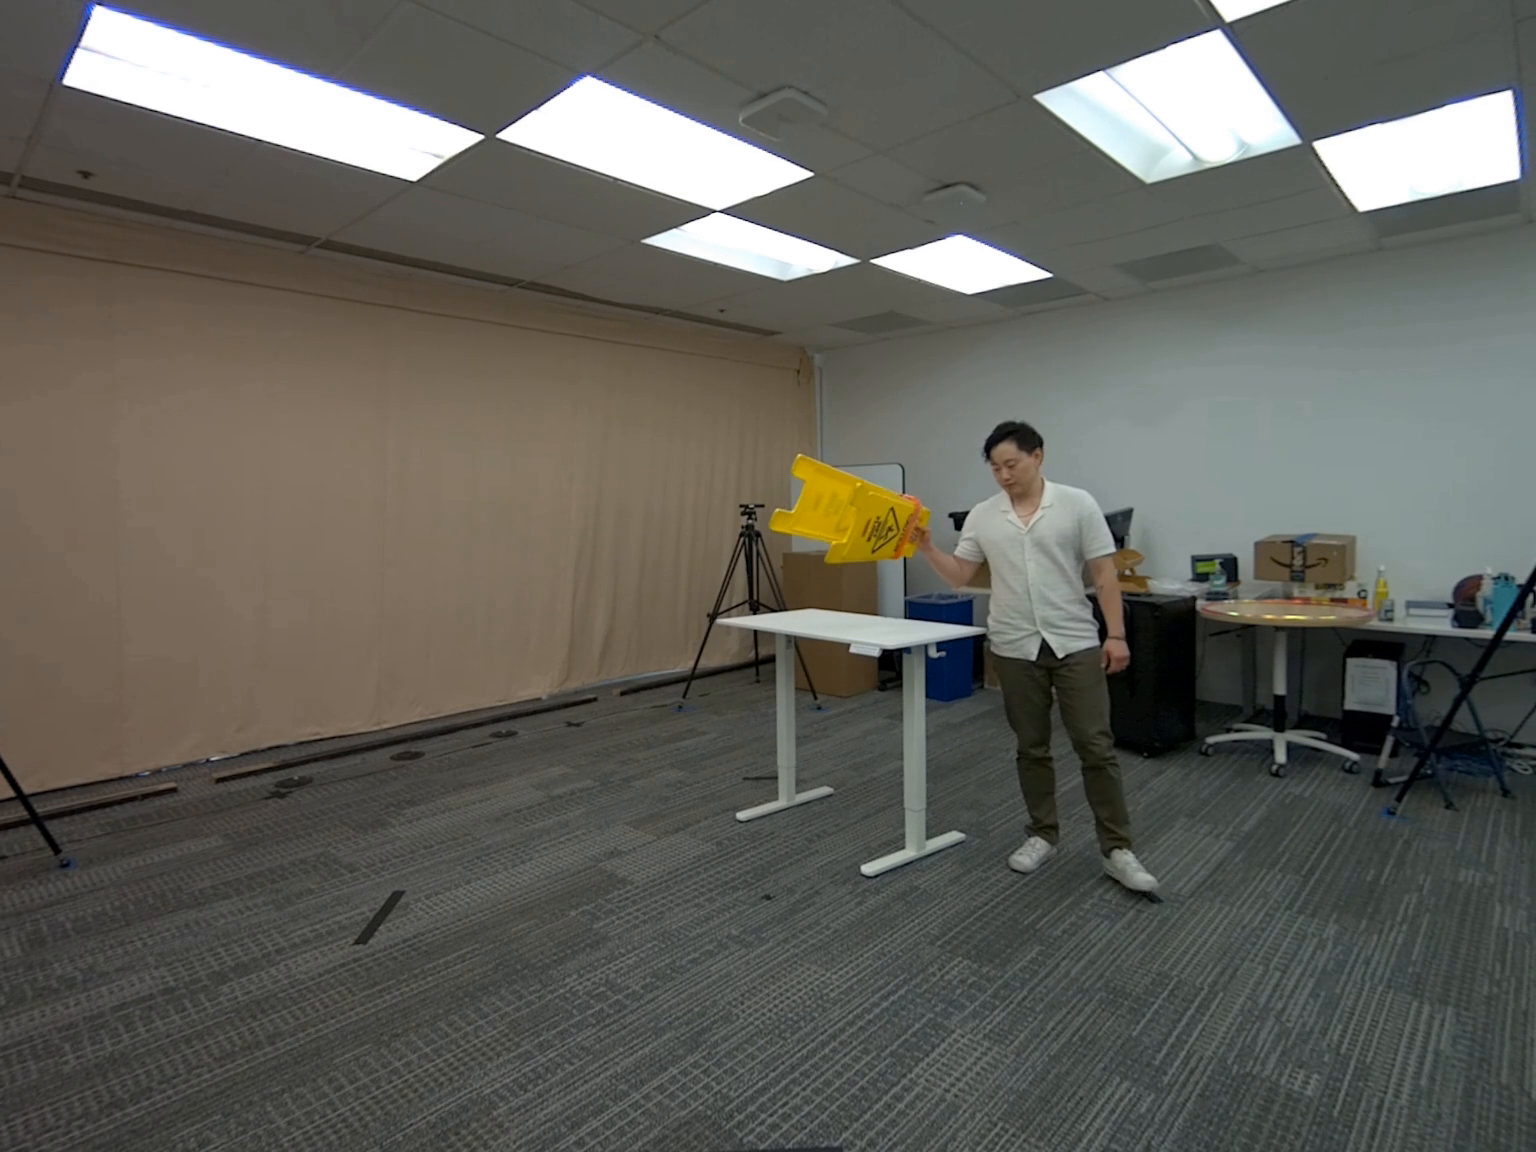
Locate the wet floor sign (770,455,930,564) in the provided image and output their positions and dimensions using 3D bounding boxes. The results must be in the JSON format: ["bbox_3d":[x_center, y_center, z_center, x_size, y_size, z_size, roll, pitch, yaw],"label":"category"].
[{"bbox_3d":[0.364,-0.199,3.015,0.624,0.281,0.300,9,19,-45],"label":"wet floor sign"}]
